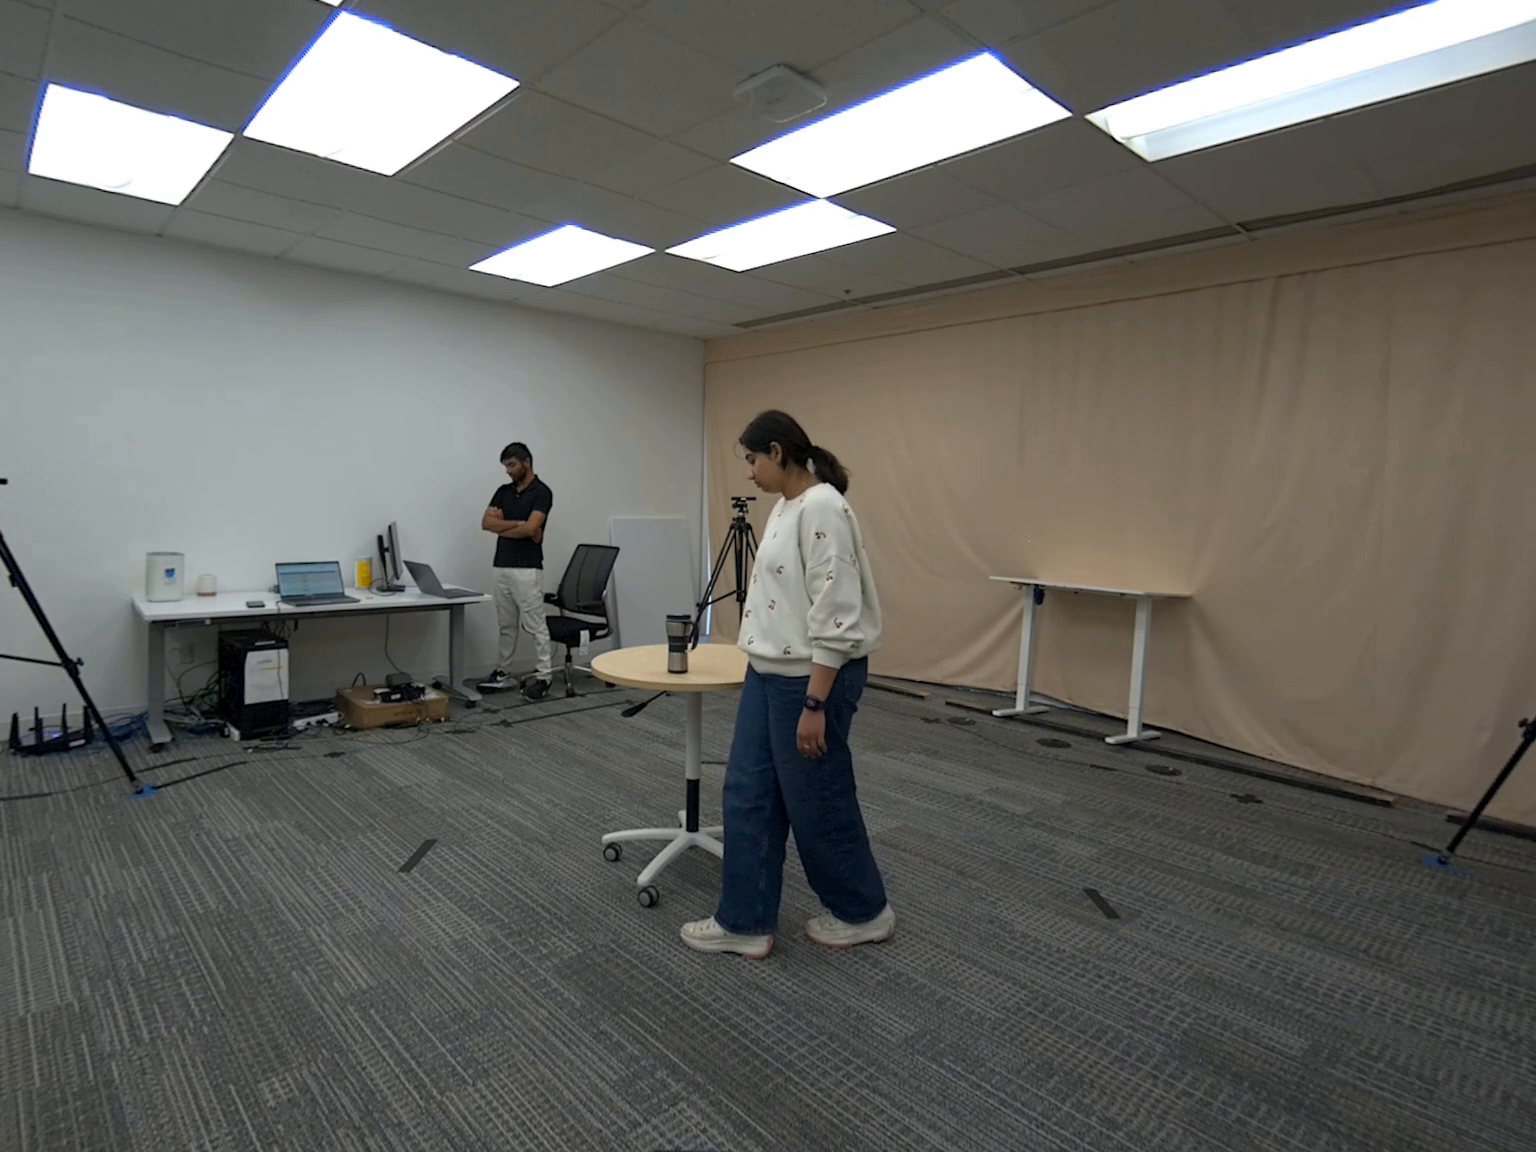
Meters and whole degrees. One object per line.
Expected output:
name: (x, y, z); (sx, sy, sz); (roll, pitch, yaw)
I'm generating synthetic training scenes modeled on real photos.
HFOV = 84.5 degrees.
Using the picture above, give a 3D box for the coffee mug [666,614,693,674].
coffee mug: (-0.311, 0.241, 2.911); (0.086, 0.203, 0.124); (1, -1, -29)
